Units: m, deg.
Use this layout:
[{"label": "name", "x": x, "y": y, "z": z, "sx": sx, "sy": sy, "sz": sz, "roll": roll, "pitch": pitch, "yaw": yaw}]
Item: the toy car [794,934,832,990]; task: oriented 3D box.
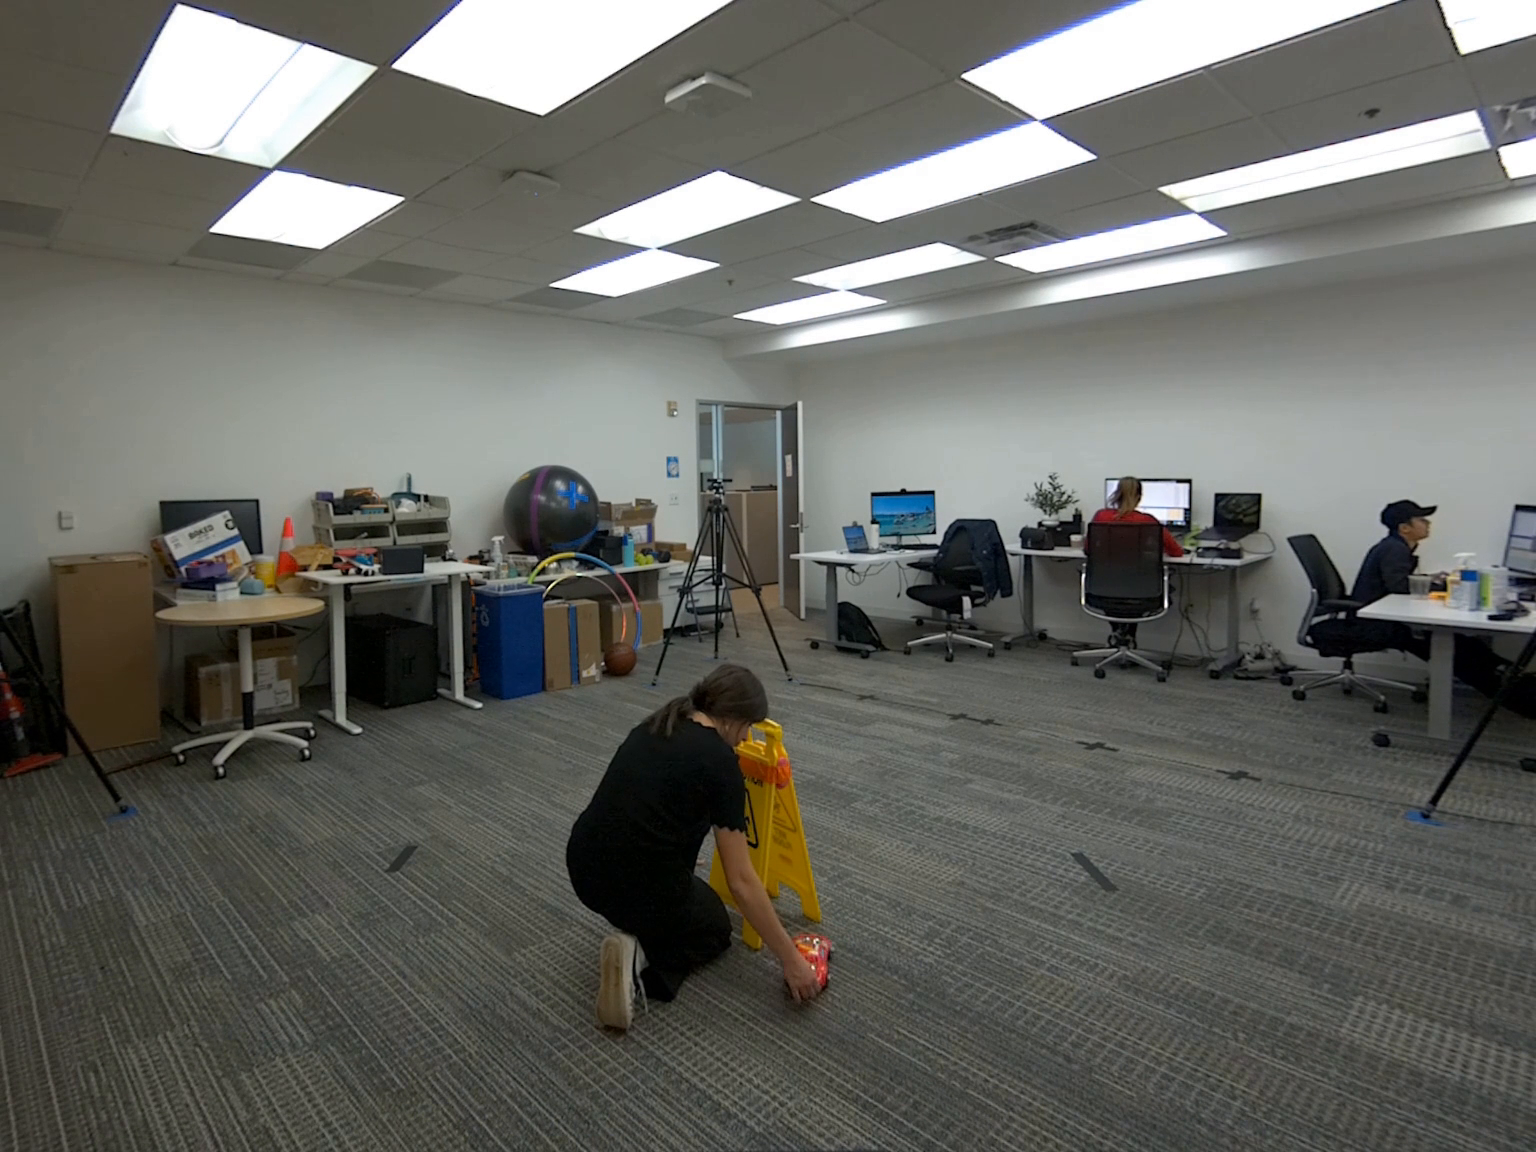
[{"label": "toy car", "x": 0.103, "y": 1.093, "z": 2.412, "sx": 0.131, "sy": 0.083, "sz": 0.251, "roll": 1, "pitch": -4, "yaw": 9}]
